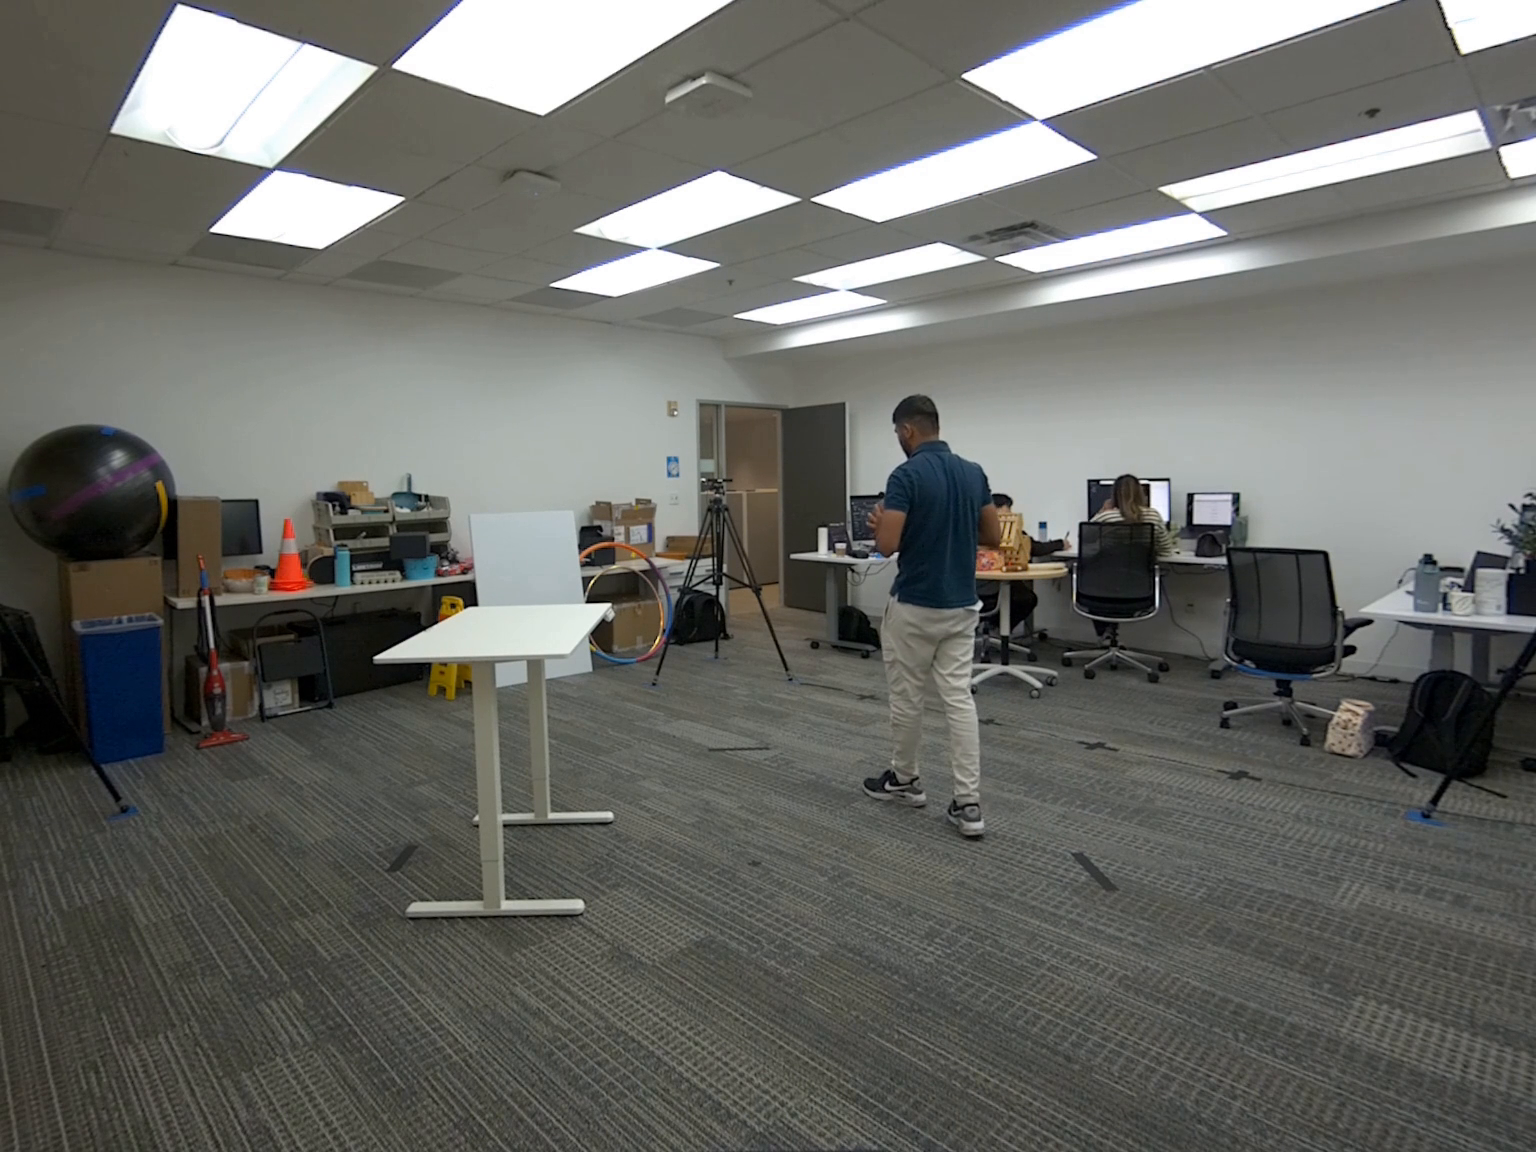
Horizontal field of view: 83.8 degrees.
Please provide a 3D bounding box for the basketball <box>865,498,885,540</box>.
[{"bbox_3d":[0.570,-0.233,3.727,0.236,0.235,0.237,-1,5,-2],"label":"basketball"}]
